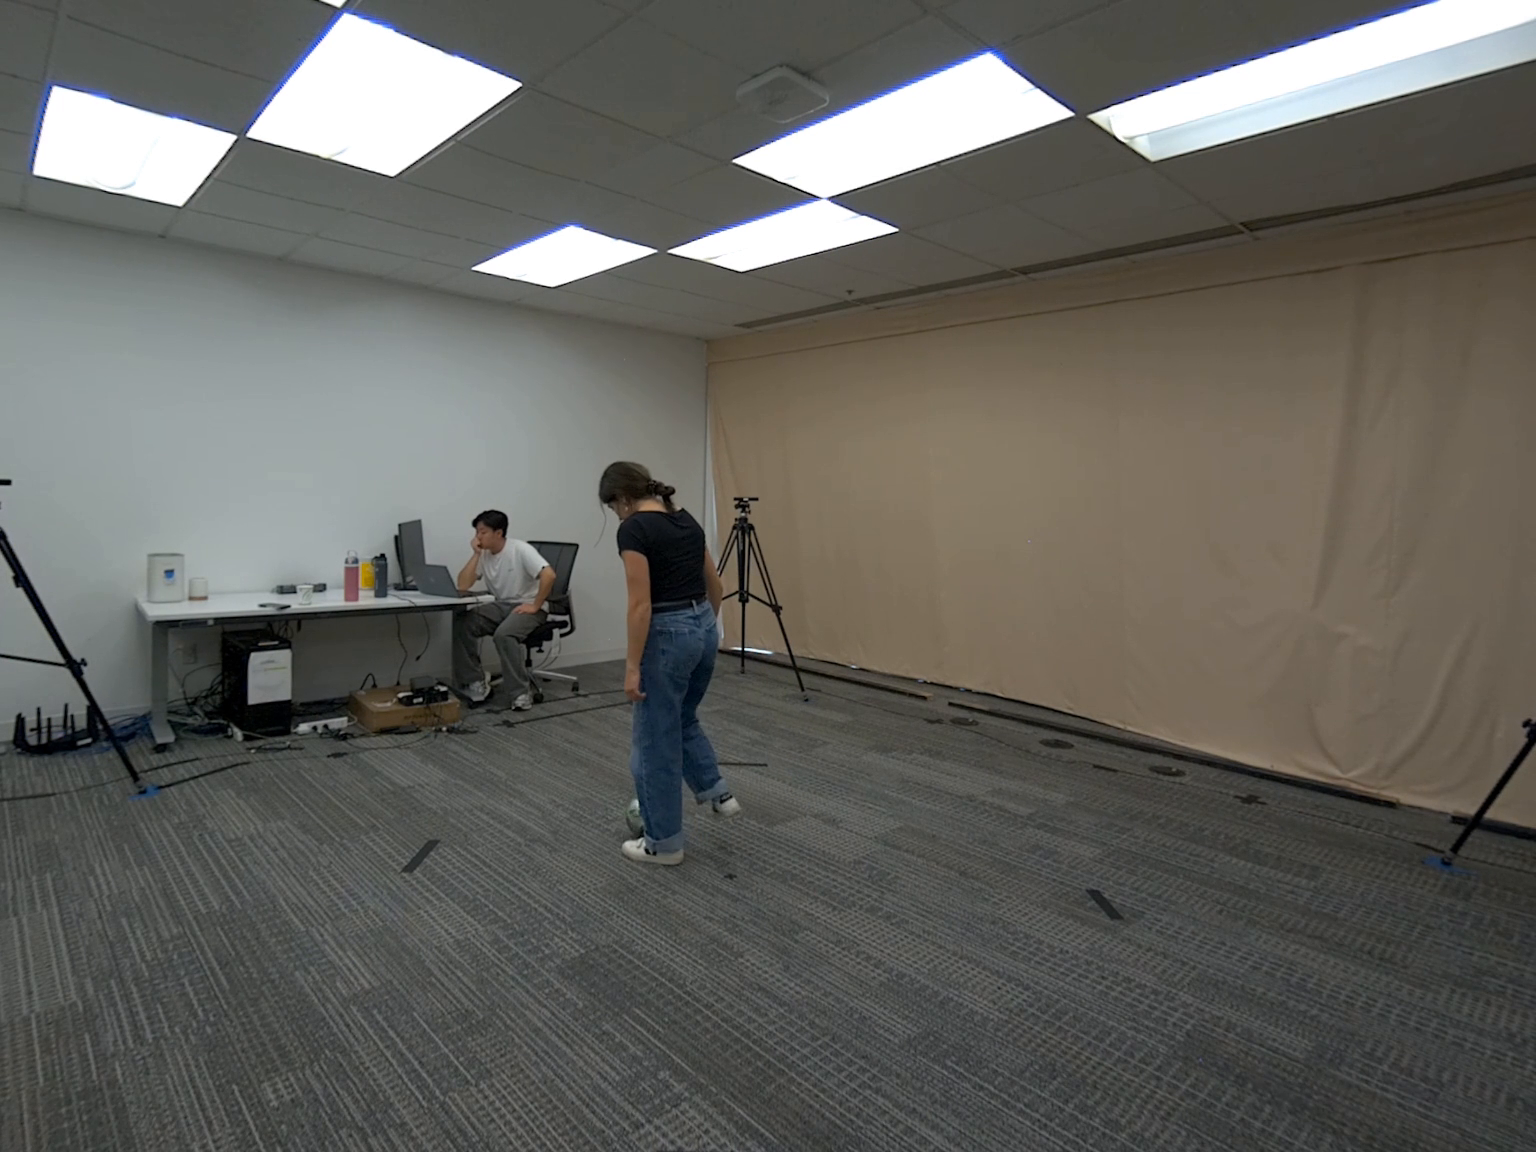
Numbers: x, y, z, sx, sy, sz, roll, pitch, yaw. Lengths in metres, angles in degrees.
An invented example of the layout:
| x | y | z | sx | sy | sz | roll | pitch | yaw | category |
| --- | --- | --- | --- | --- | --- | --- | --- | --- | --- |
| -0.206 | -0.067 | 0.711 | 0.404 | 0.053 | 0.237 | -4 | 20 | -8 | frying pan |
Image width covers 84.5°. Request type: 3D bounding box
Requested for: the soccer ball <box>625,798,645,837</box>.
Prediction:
| x | y | z | sx | sy | sz | roll | pitch | yaw | category |
| --- | --- | --- | --- | --- | --- | --- | --- | --- | --- |
| -0.493 | 0.977 | 3.445 | 0.187 | 0.187 | 0.188 | 1 | 4 | -1 | soccer ball |
